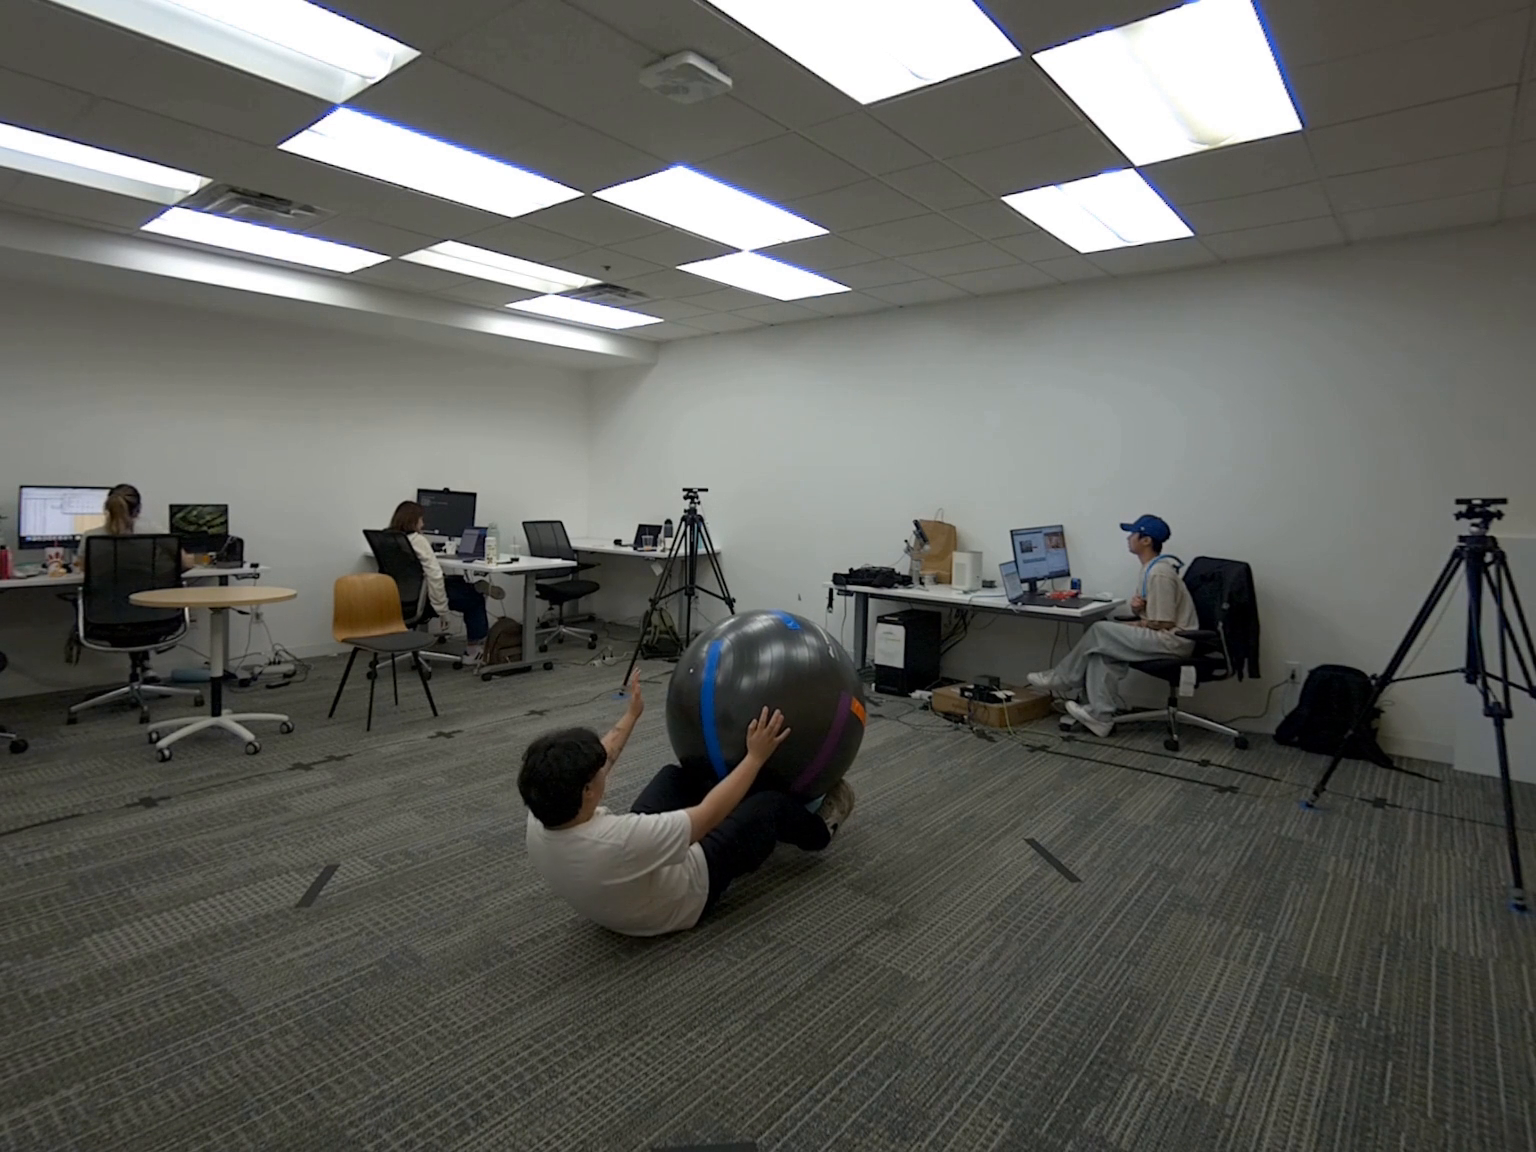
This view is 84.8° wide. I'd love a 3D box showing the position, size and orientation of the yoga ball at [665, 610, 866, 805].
[{"bbox_3d":[-0.017,0.501,3.243,0.757,0.755,0.762,1,4,-2],"label":"yoga ball"}]
